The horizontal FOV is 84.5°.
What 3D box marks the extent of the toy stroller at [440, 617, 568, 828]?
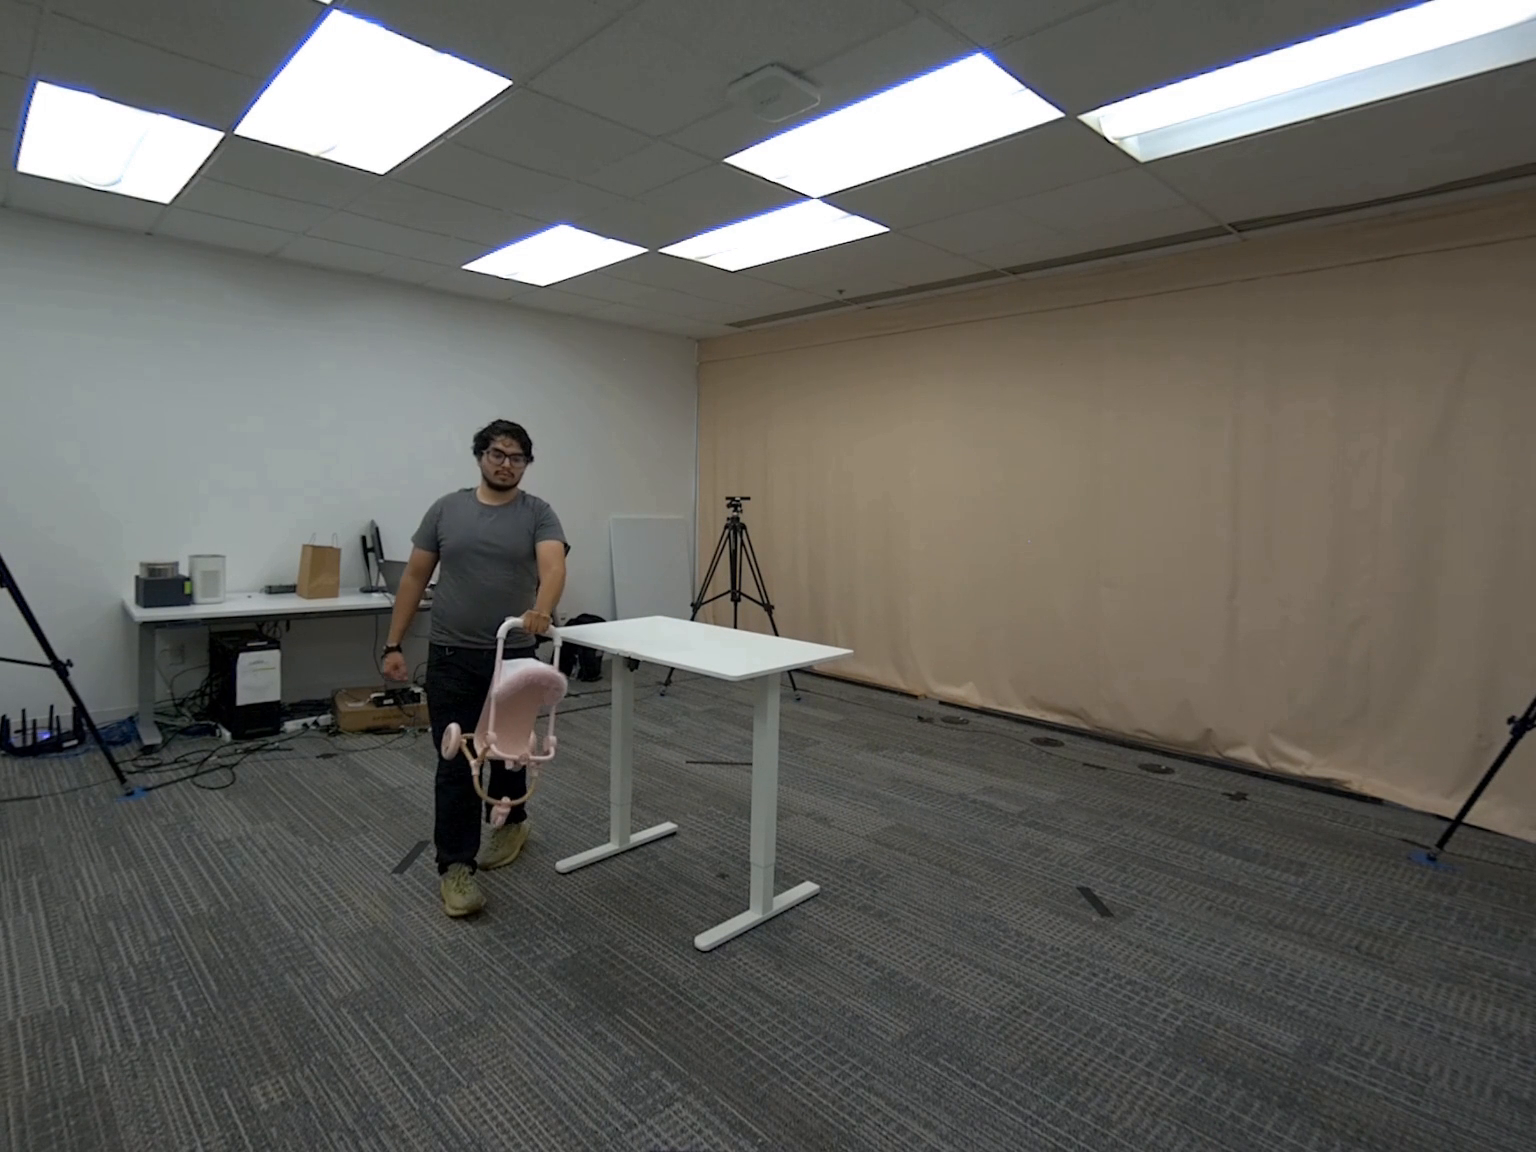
[{"bbox_3d":[-0.770,0.449,2.519,0.274,0.532,0.352,17,18,-34],"label":"toy stroller"}]
